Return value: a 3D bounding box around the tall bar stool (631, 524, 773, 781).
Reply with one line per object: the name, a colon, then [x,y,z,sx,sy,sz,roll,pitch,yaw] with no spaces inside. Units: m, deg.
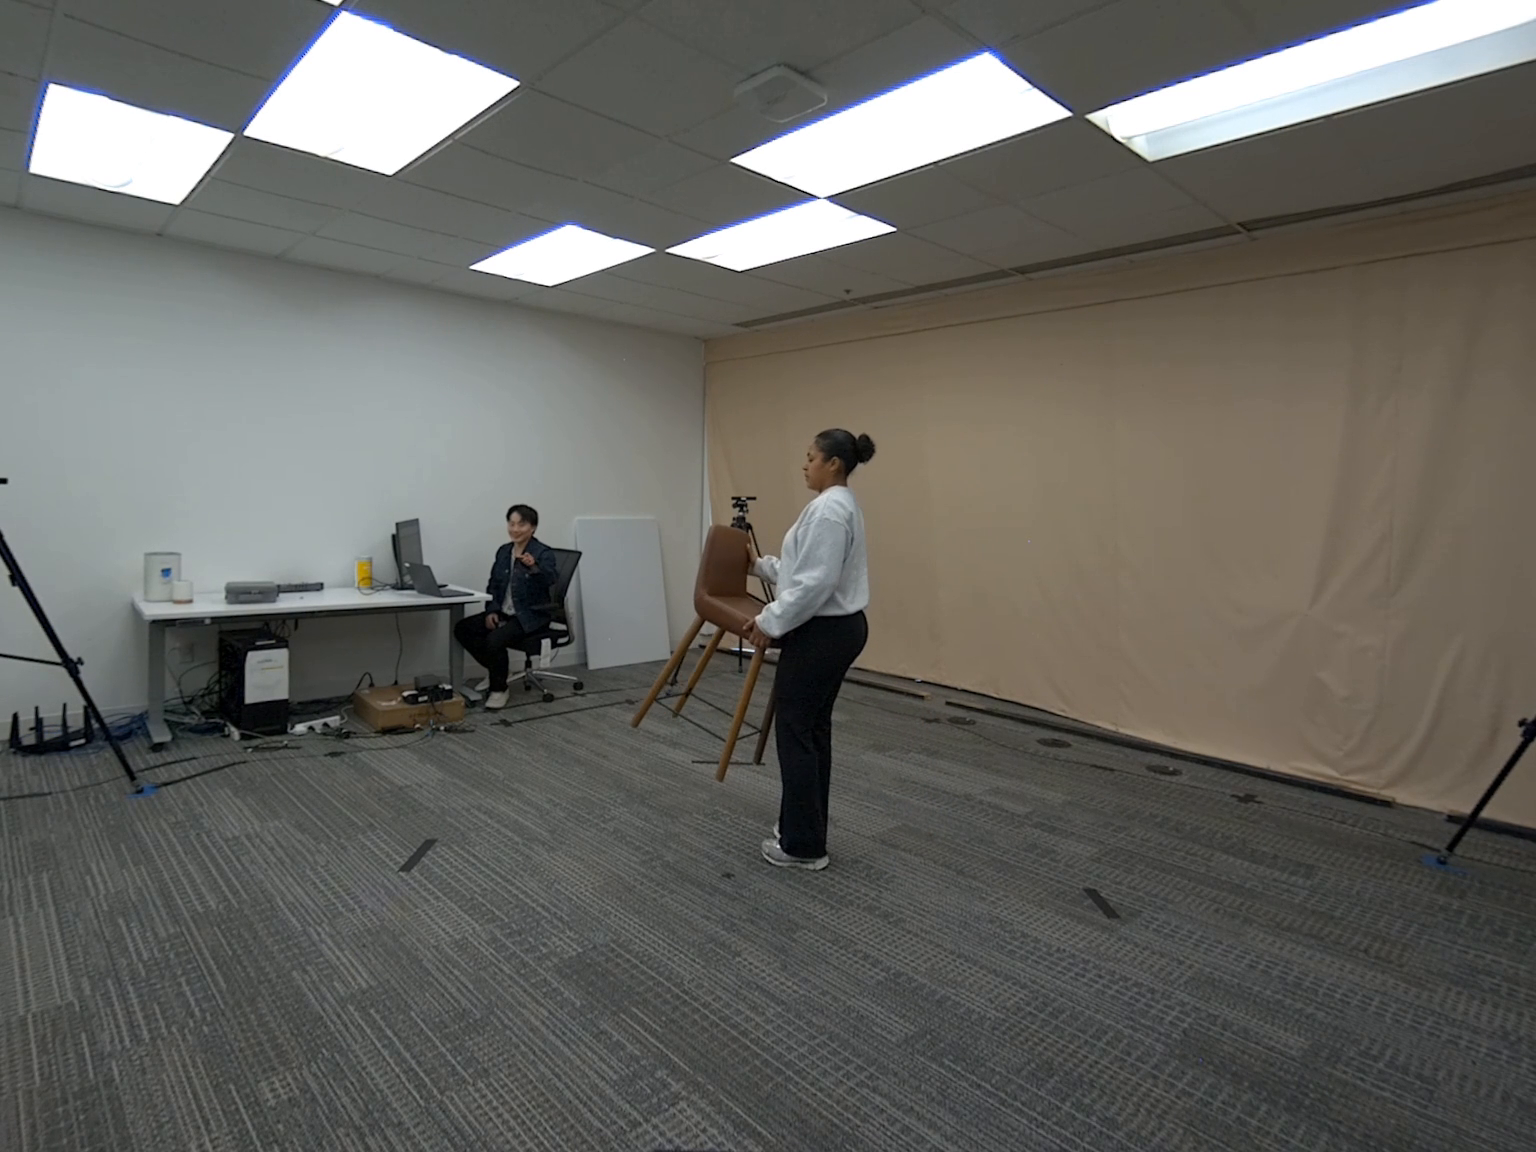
tall bar stool: [-0.142,0.292,3.390,0.478,0.888,0.447,22,5,23]
